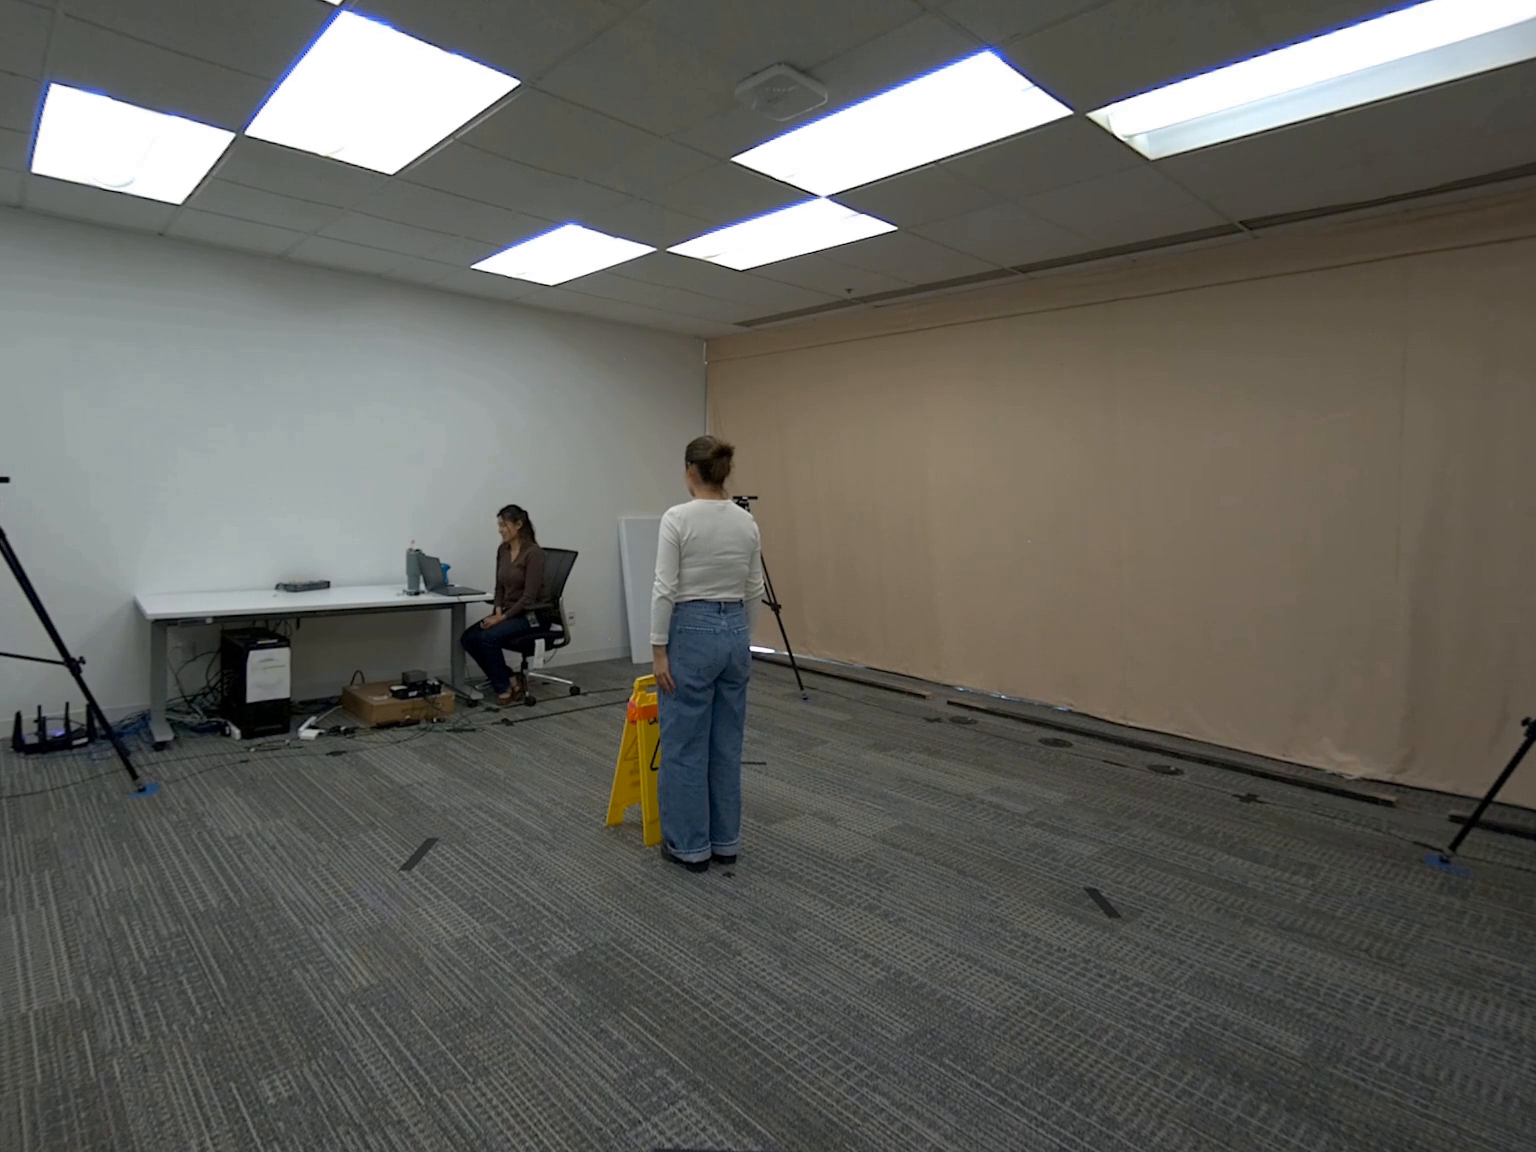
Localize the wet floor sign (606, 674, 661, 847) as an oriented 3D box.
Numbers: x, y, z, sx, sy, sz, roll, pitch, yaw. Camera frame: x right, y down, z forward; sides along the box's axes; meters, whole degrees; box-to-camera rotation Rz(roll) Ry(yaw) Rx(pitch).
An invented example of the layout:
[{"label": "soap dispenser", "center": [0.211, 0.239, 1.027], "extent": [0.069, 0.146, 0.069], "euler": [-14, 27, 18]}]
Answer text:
[{"label": "wet floor sign", "center": [-0.485, 0.734, 3.511], "extent": [0.275, 0.645, 0.297], "euler": [0, 2, -44]}]
